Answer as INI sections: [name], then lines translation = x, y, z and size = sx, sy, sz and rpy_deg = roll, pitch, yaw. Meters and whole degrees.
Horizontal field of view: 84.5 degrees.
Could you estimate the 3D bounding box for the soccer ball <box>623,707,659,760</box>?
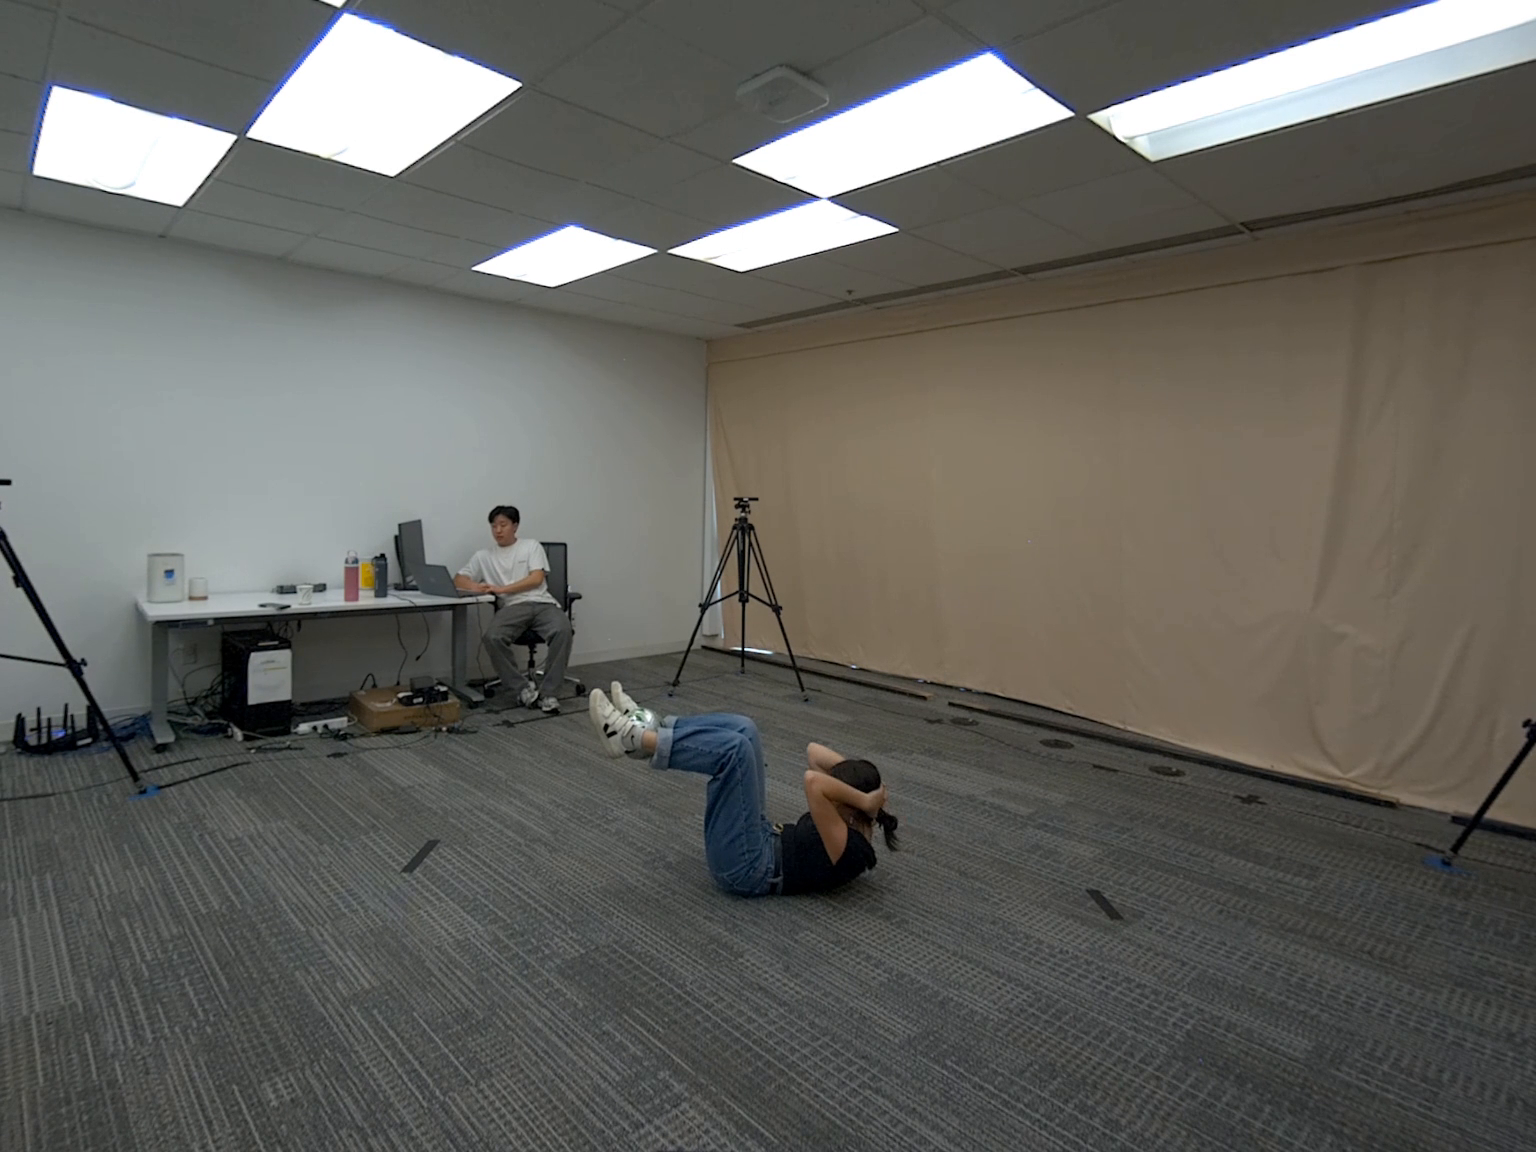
[soccer ball]
translation = -0.476, 0.589, 3.083
size = 0.187, 0.186, 0.188
rpy_deg = 1, 7, -1
